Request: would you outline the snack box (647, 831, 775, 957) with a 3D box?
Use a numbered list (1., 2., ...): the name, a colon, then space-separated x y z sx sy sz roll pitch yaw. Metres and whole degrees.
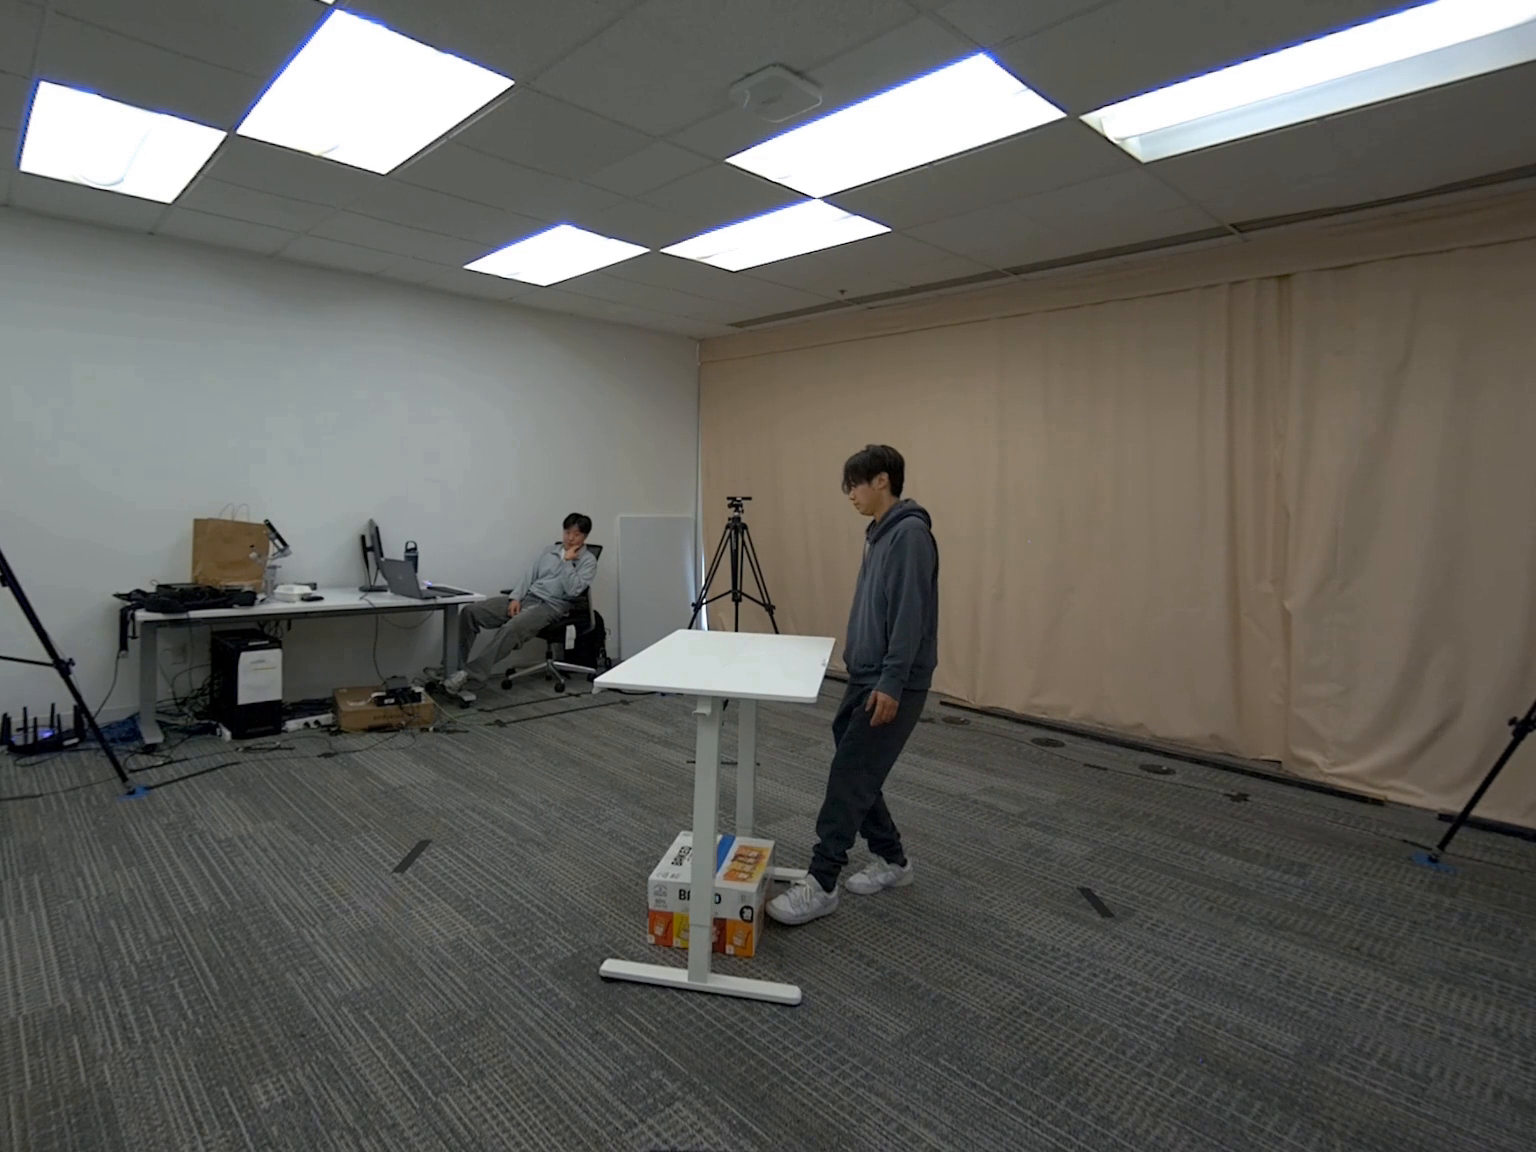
1. snack box: -0.178 1.034 2.768 0.343 0.205 0.402 2 5 10
